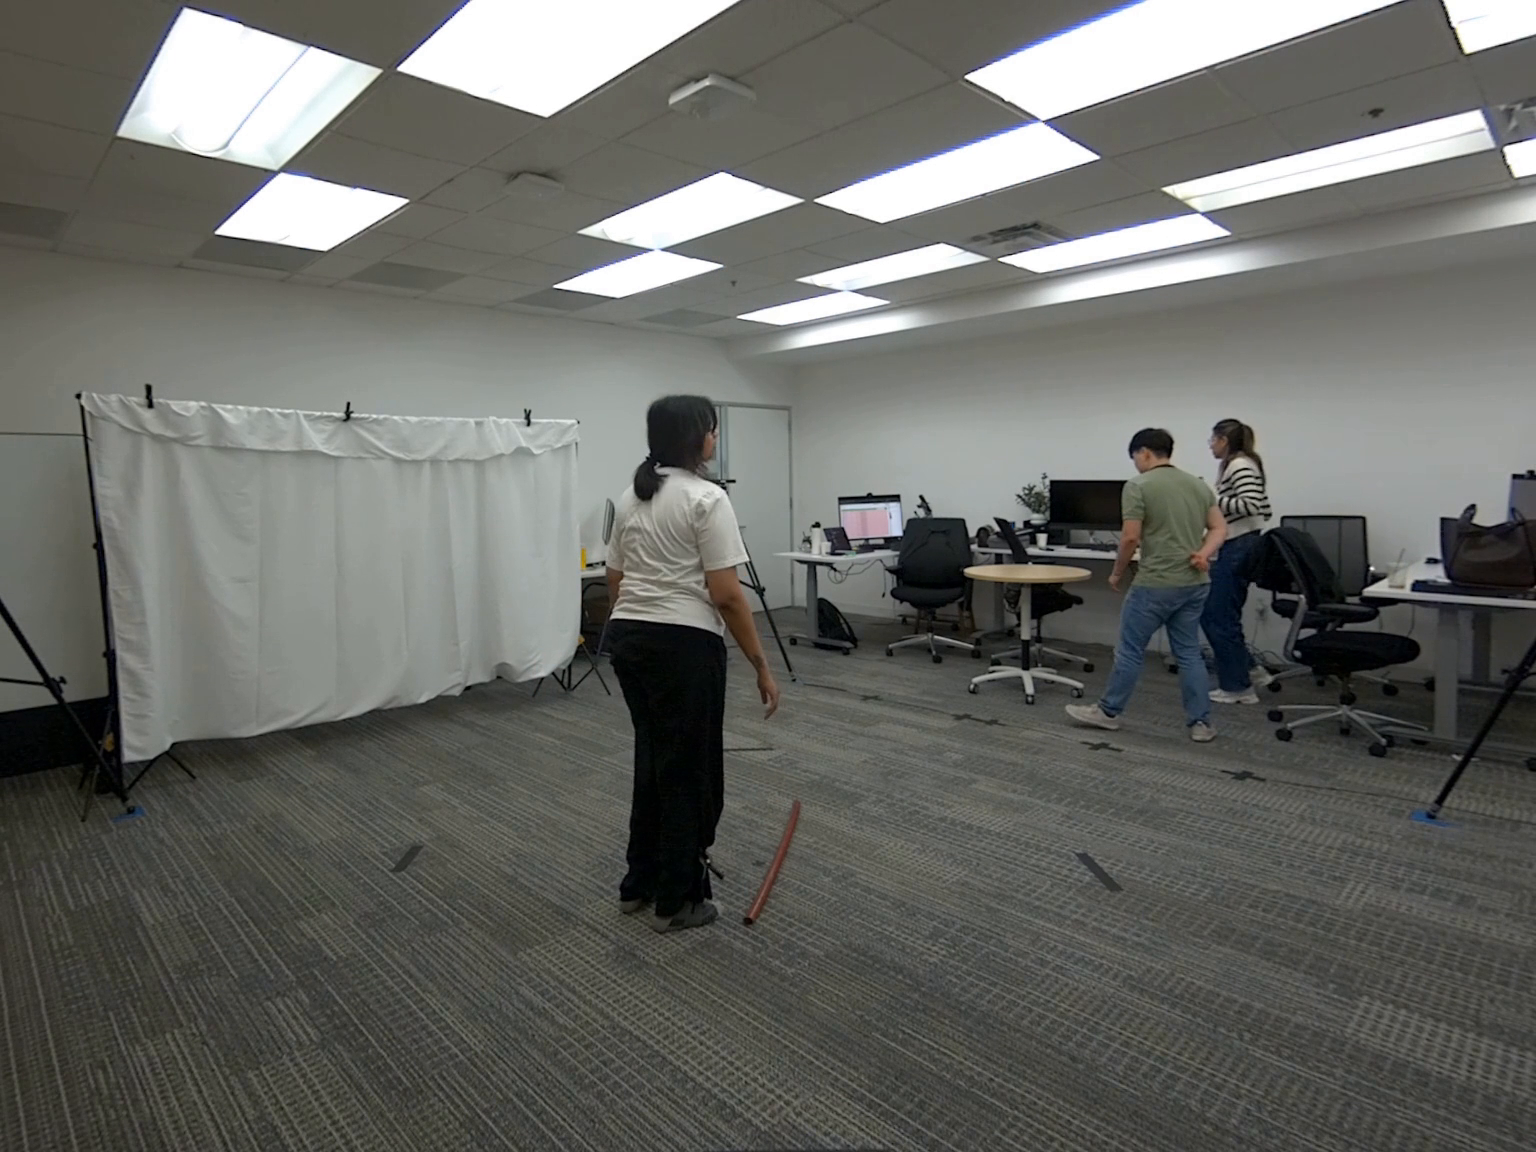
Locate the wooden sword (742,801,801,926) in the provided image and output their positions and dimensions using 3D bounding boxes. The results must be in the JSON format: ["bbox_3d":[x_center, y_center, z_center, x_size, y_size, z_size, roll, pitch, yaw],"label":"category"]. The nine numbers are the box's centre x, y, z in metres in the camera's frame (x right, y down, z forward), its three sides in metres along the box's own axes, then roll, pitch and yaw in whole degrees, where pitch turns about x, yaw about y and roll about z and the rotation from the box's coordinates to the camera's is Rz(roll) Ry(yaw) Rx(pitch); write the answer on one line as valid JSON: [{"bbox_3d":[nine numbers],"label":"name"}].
[{"bbox_3d":[0.045,1.013,3.181,0.052,0.024,1.017,8,8,9],"label":"wooden sword"}]
